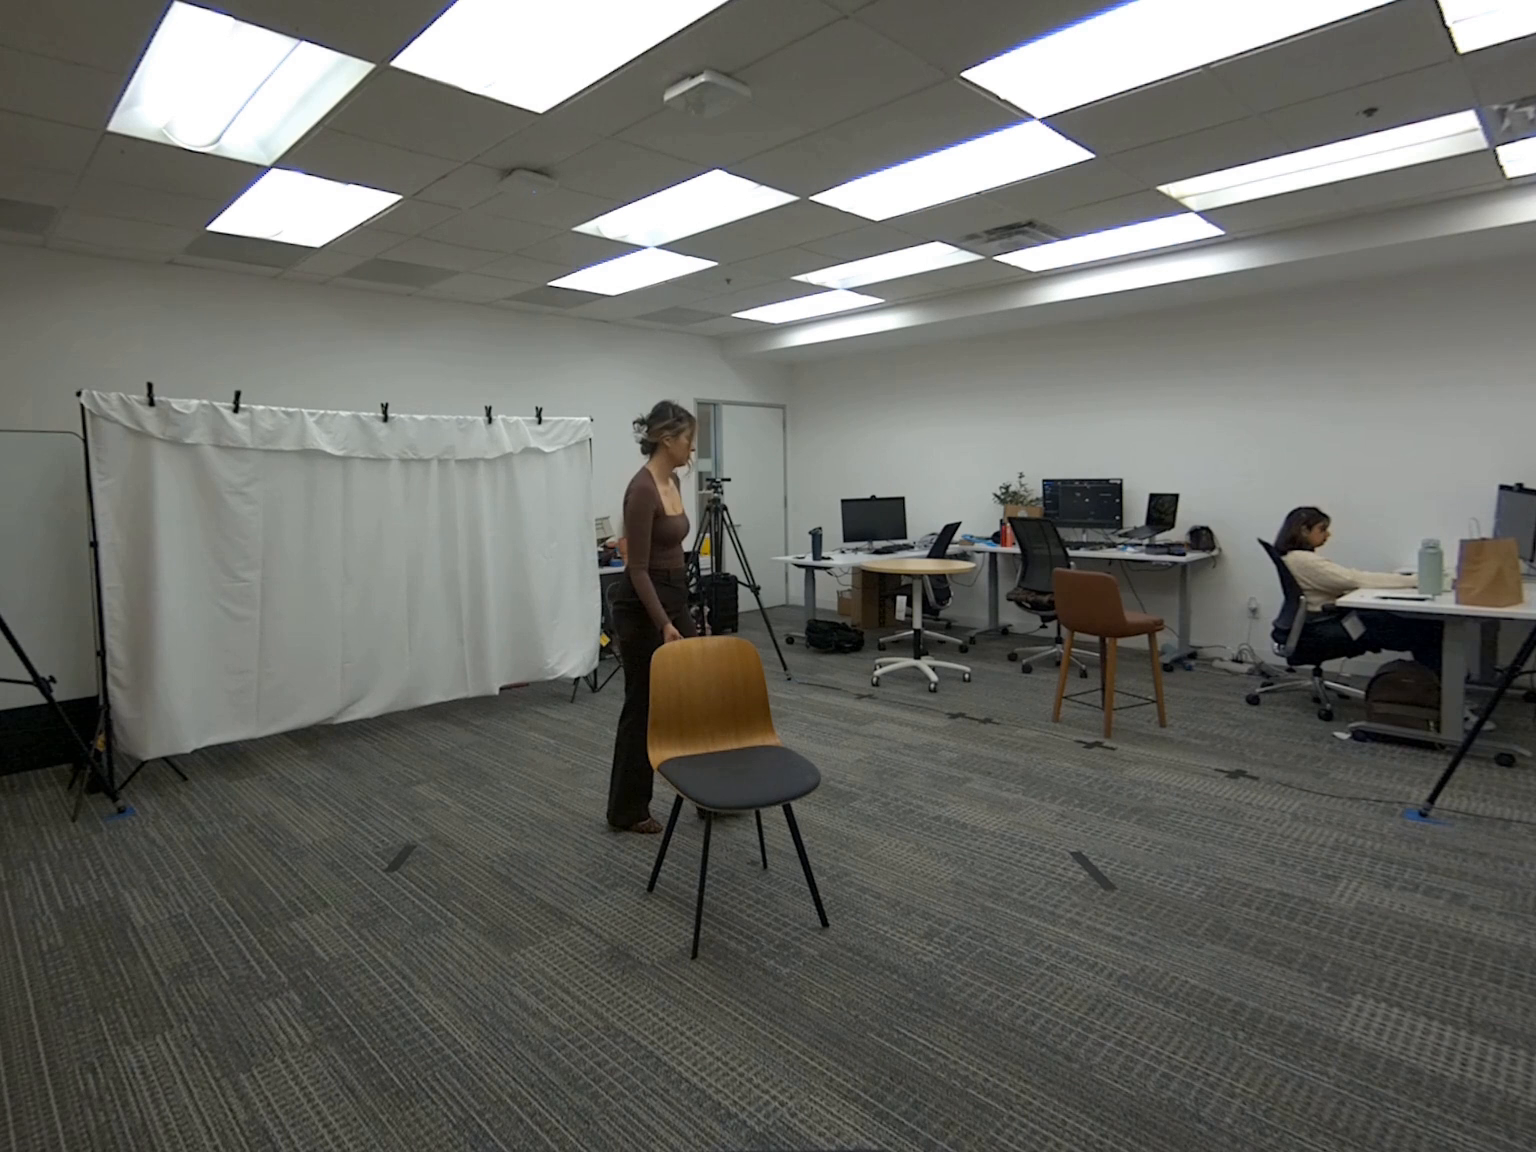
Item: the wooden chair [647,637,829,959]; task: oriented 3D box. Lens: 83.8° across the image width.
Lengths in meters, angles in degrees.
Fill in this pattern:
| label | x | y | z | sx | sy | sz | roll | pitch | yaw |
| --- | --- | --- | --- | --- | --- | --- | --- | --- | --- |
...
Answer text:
| label | x | y | z | sx | sy | sz | roll | pitch | yaw |
| --- | --- | --- | --- | --- | --- | --- | --- | --- | --- |
| wooden chair | -0.111 | 0.660 | 2.736 | 0.469 | 0.877 | 0.534 | -3 | 1 | -24 |
